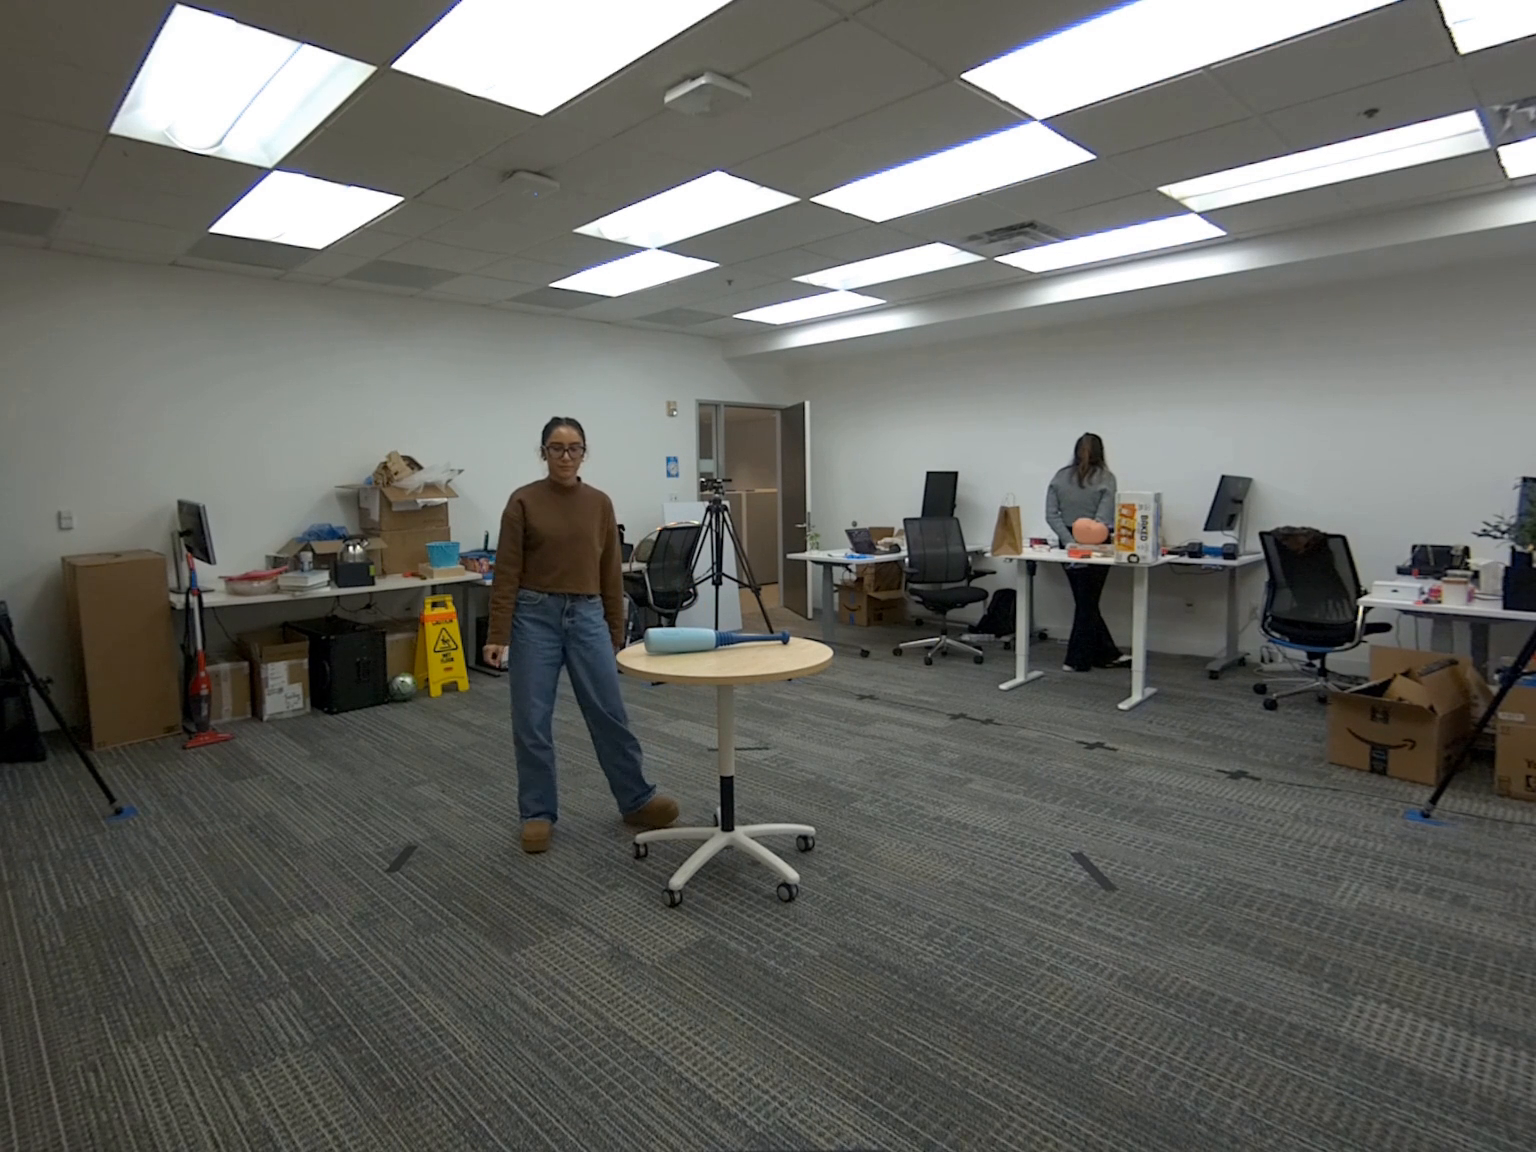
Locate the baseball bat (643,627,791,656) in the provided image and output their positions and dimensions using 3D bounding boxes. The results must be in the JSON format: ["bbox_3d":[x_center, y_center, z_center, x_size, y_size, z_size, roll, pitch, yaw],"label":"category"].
[{"bbox_3d":[-0.181,0.230,3.091,0.533,0.089,0.091,0,4,-19],"label":"baseball bat"}]
